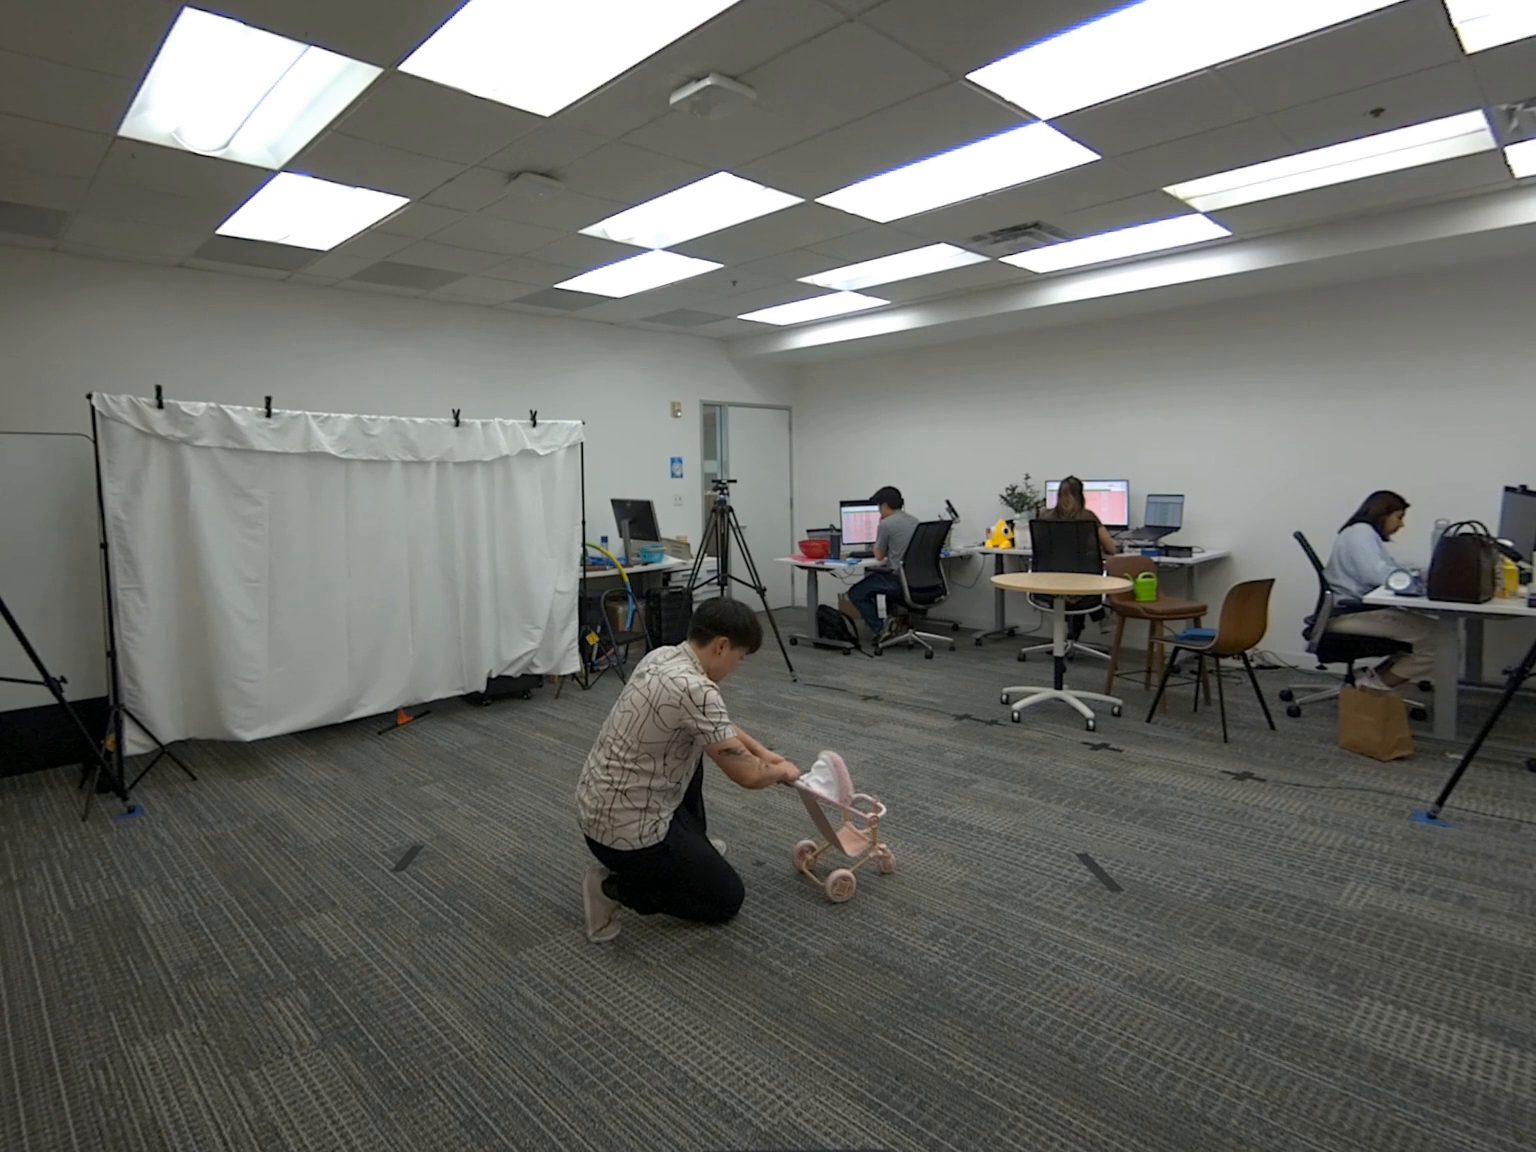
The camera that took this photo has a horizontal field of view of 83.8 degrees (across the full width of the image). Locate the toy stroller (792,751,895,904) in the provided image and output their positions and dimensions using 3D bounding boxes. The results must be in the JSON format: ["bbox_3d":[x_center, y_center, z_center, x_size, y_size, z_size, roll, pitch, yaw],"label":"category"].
[{"bbox_3d":[0.242,0.830,2.936,0.338,0.530,0.287,-18,9,-17],"label":"toy stroller"}]
